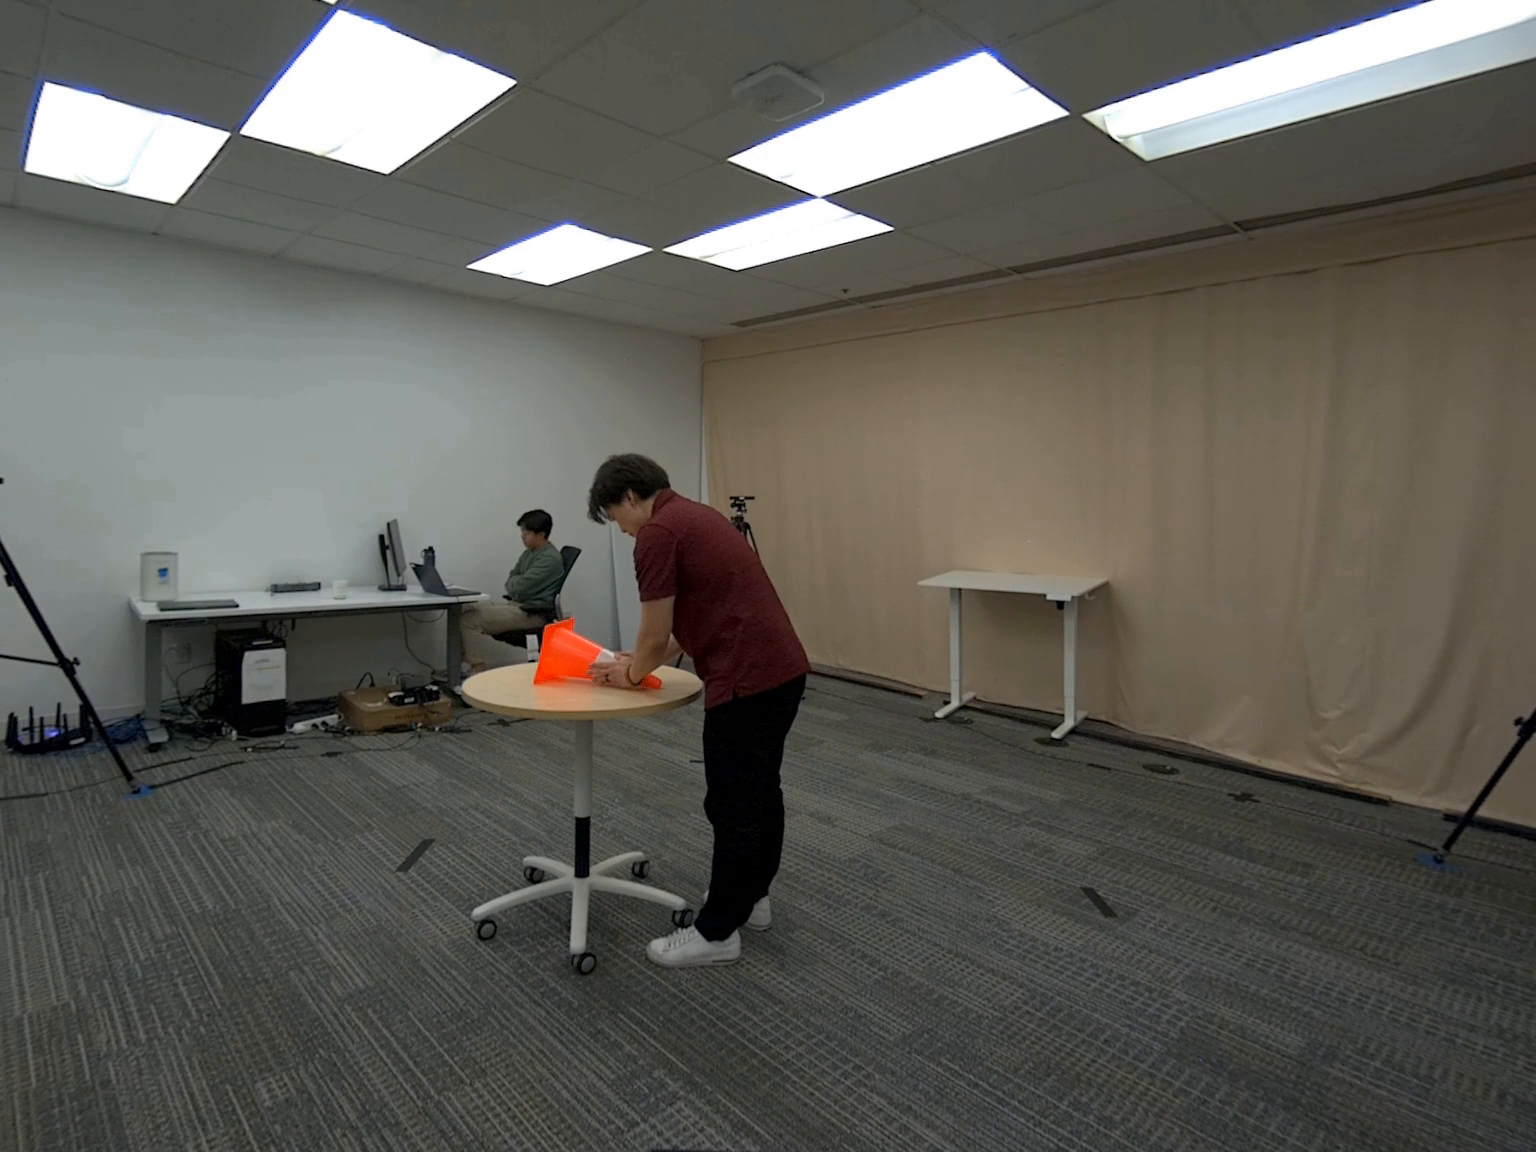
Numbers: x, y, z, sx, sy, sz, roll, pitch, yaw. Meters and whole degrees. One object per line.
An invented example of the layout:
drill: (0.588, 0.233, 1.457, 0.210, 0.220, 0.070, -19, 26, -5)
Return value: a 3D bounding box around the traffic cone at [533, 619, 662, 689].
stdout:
traffic cone: (-0.524, 0.296, 2.707, 0.386, 0.203, 0.203, 14, 12, 7)
